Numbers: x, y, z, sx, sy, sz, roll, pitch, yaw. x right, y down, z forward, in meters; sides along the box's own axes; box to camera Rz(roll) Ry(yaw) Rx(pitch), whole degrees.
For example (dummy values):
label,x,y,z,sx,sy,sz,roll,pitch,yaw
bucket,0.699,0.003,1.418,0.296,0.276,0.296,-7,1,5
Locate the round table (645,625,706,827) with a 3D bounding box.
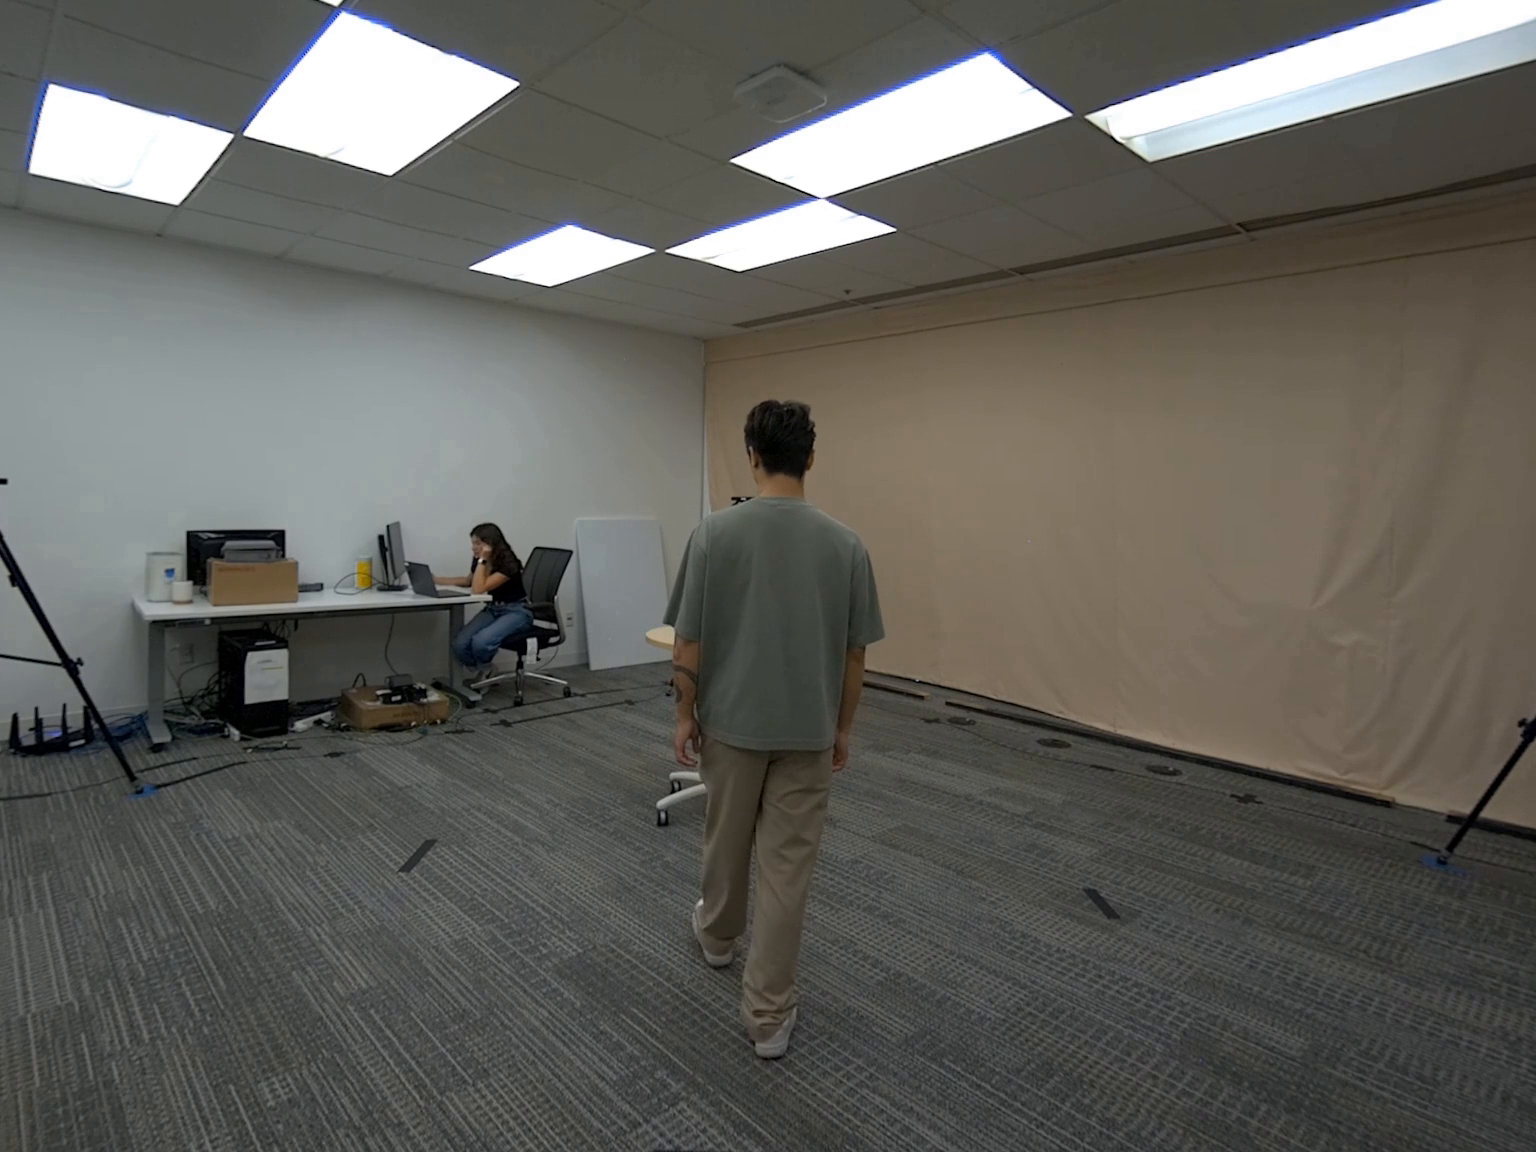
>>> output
label,x,y,z,sx,sy,sz,roll,pitch,yaw
round table,-0.163,0.660,3.750,0.784,0.785,0.787,1,3,-1
